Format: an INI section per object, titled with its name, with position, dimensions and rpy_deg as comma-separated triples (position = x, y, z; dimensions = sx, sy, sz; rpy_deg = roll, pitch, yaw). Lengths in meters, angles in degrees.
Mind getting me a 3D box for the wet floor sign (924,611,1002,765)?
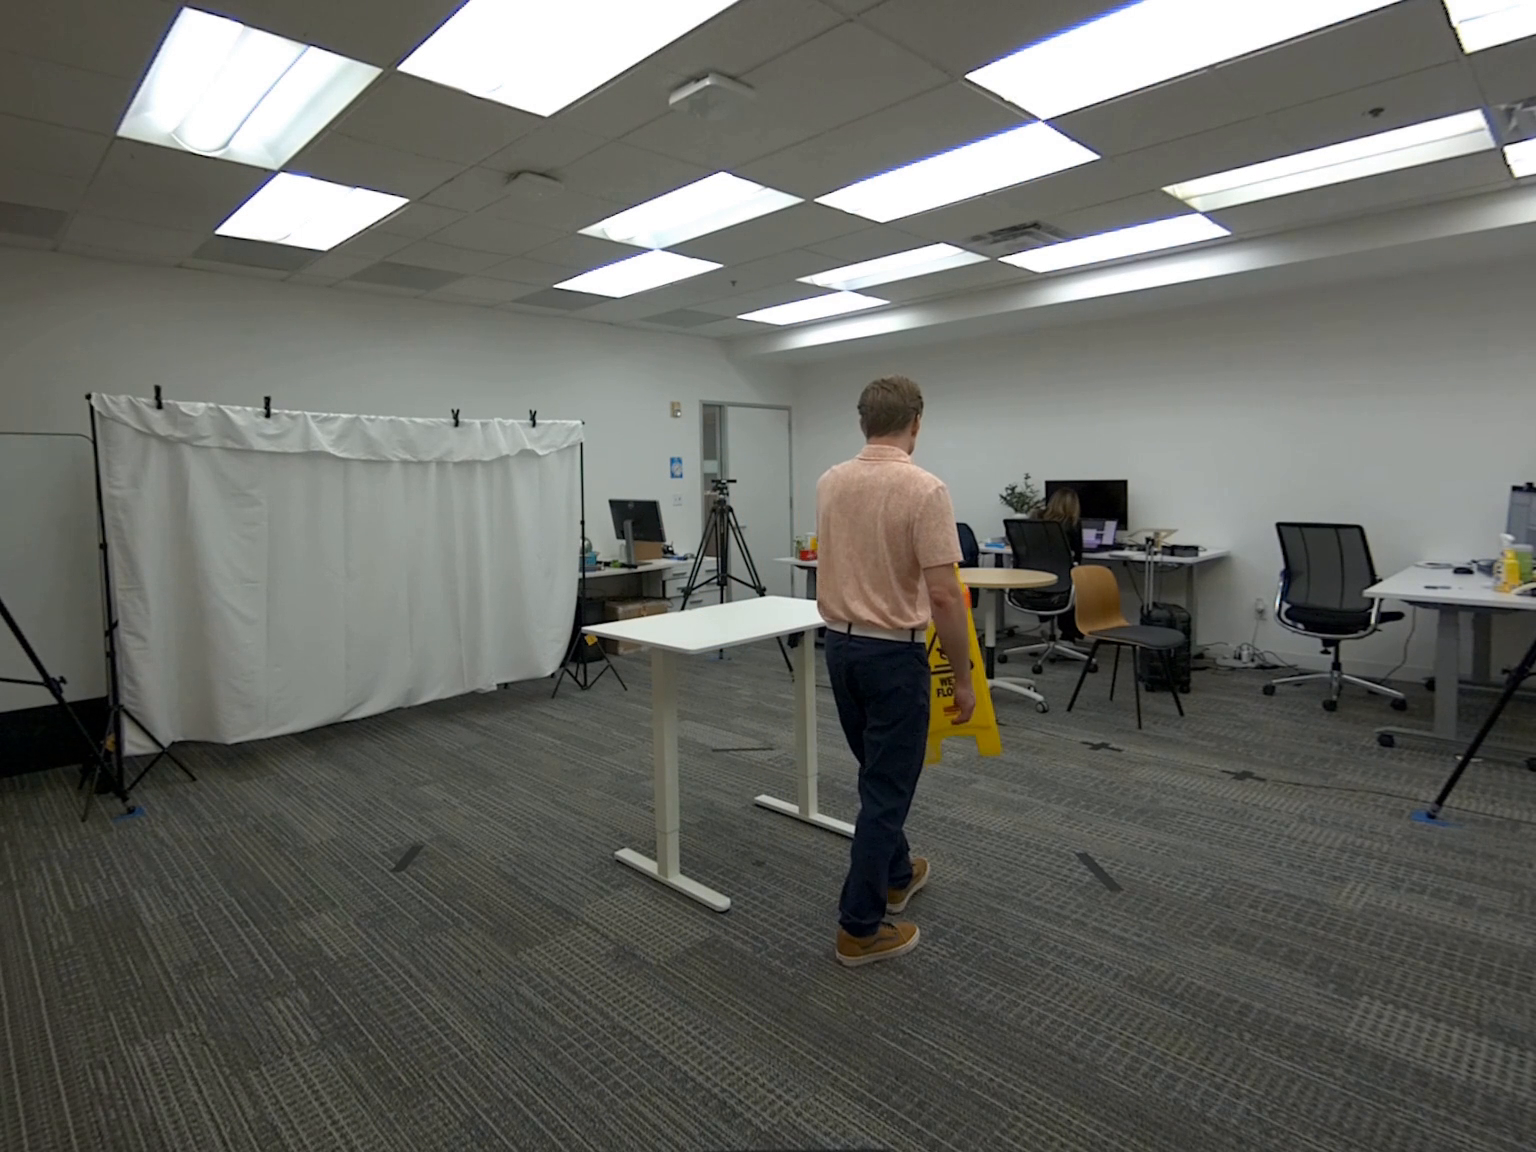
[wet floor sign]
position = 0.582, 0.270, 2.920
dimensions = 0.281, 0.646, 0.290
rpy_deg = -7, 1, -3
